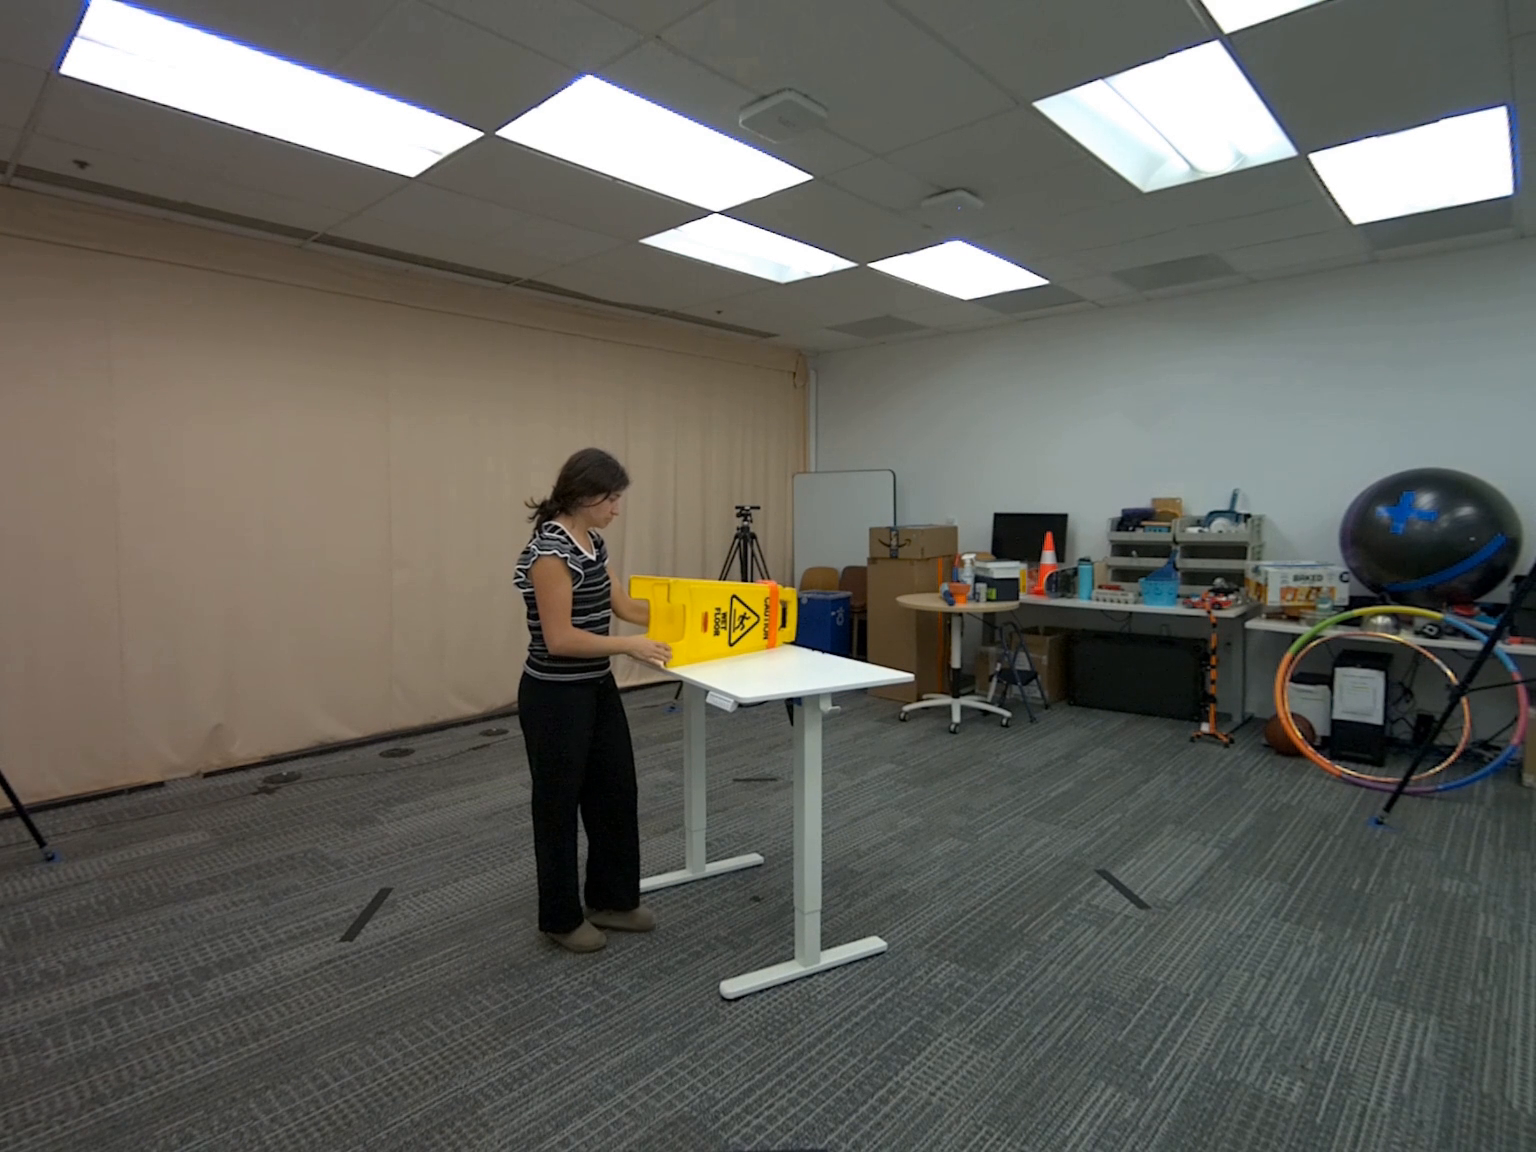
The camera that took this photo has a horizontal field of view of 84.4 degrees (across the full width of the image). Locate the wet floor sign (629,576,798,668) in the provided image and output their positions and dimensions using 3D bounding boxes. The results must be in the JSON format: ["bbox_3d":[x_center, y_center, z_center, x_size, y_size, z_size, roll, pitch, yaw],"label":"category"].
[{"bbox_3d":[-0.140,0.146,2.929,0.626,0.282,0.299,0,3,-40],"label":"wet floor sign"}]
